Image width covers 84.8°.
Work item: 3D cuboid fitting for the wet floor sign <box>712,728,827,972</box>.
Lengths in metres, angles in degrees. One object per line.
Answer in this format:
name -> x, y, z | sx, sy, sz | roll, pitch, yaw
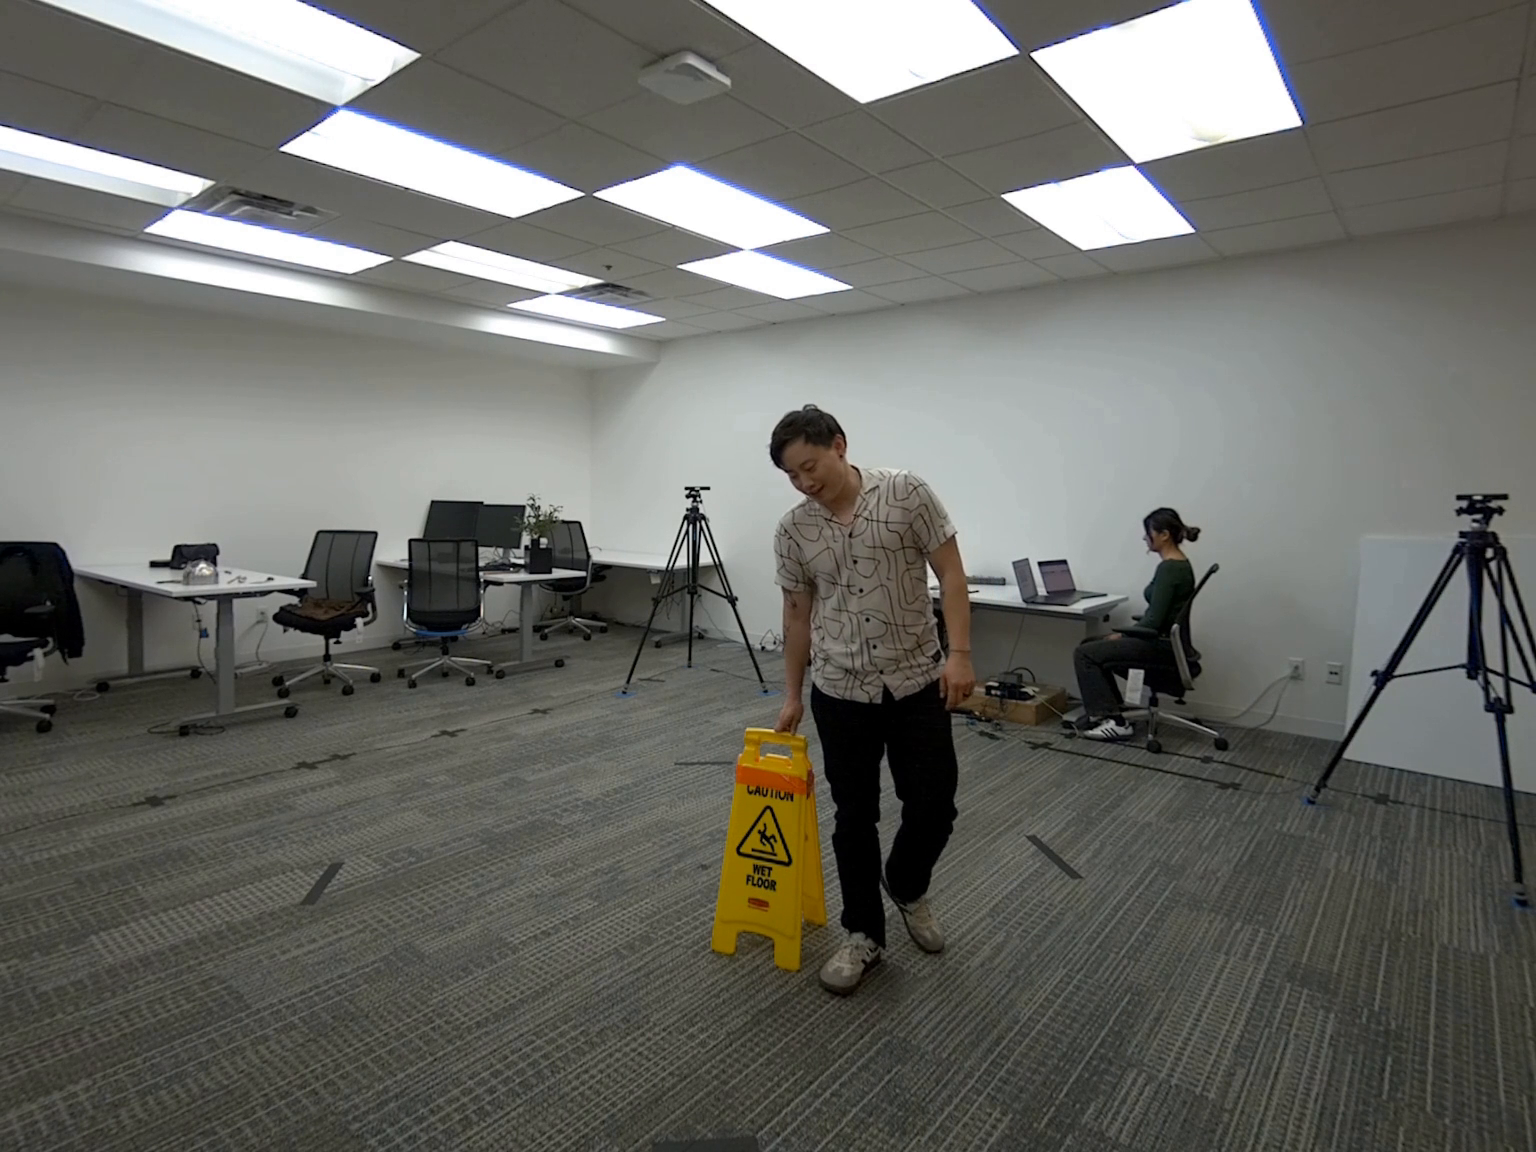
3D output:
wet floor sign -> 0.008, 0.793, 2.625 | 0.289, 0.644, 0.284 | 3, 3, 22
